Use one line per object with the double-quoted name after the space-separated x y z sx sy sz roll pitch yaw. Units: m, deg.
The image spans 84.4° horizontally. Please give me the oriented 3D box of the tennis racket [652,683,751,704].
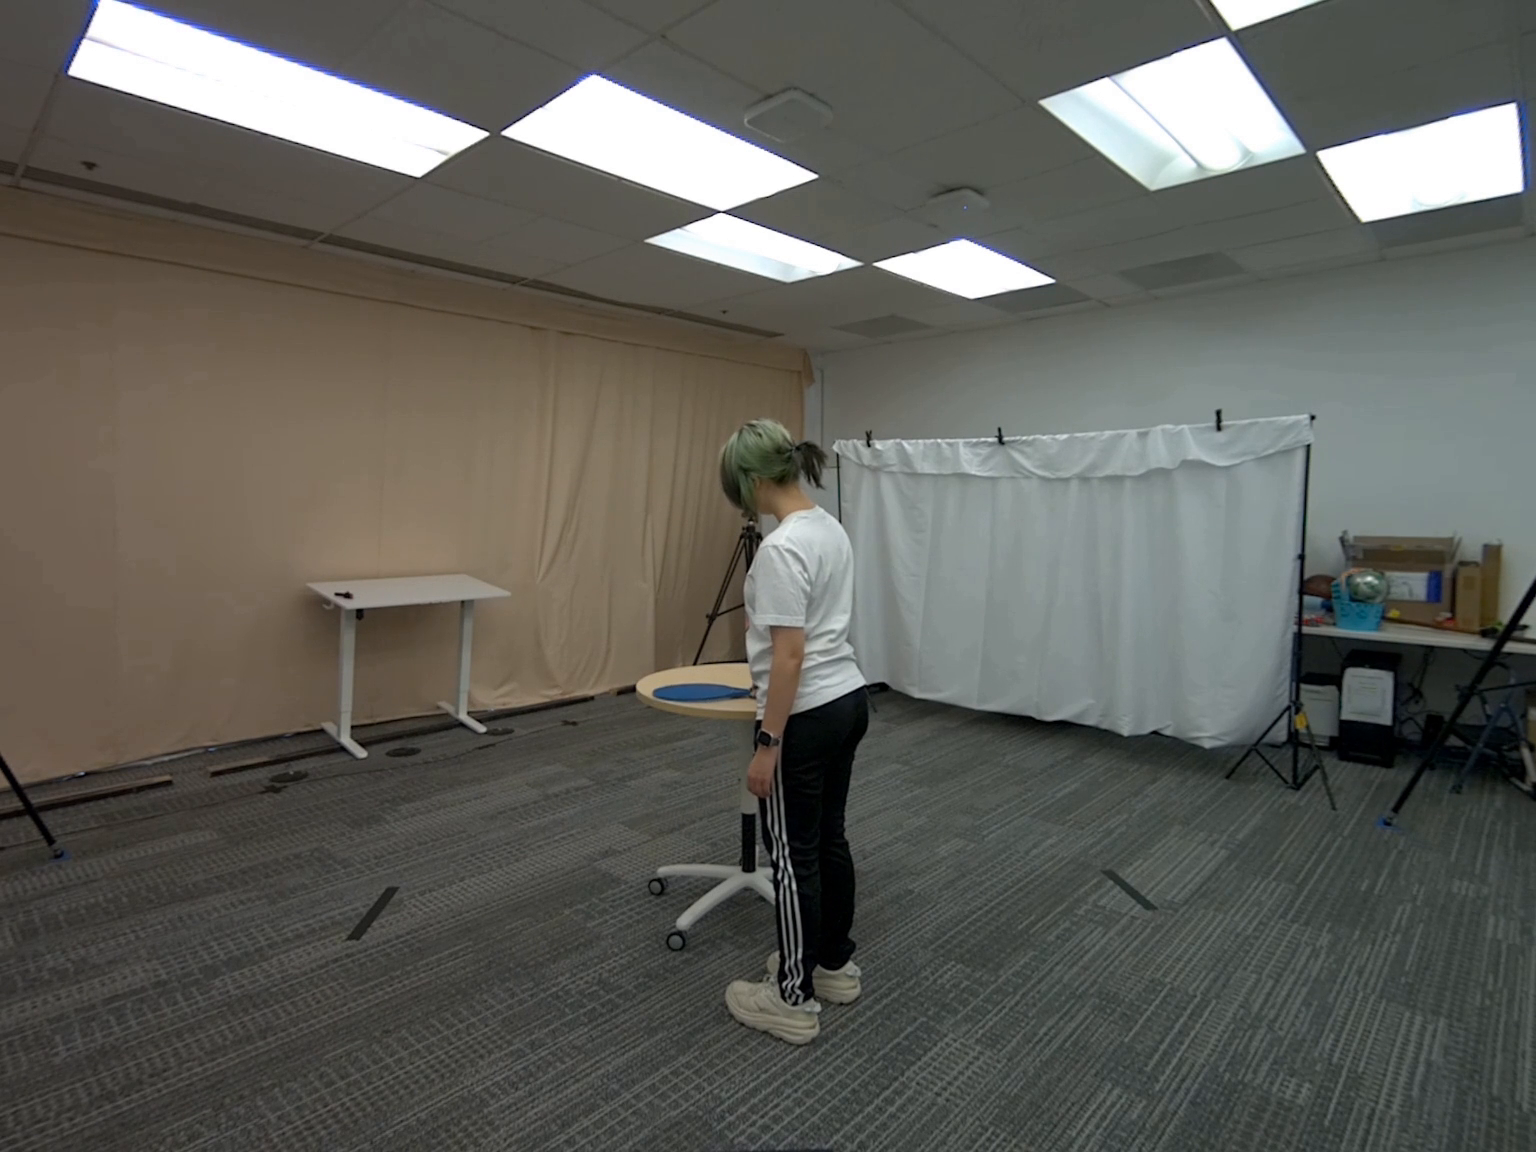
-0.153 0.374 2.674 0.437 0.032 0.212 -1 3 9 "tennis racket"
